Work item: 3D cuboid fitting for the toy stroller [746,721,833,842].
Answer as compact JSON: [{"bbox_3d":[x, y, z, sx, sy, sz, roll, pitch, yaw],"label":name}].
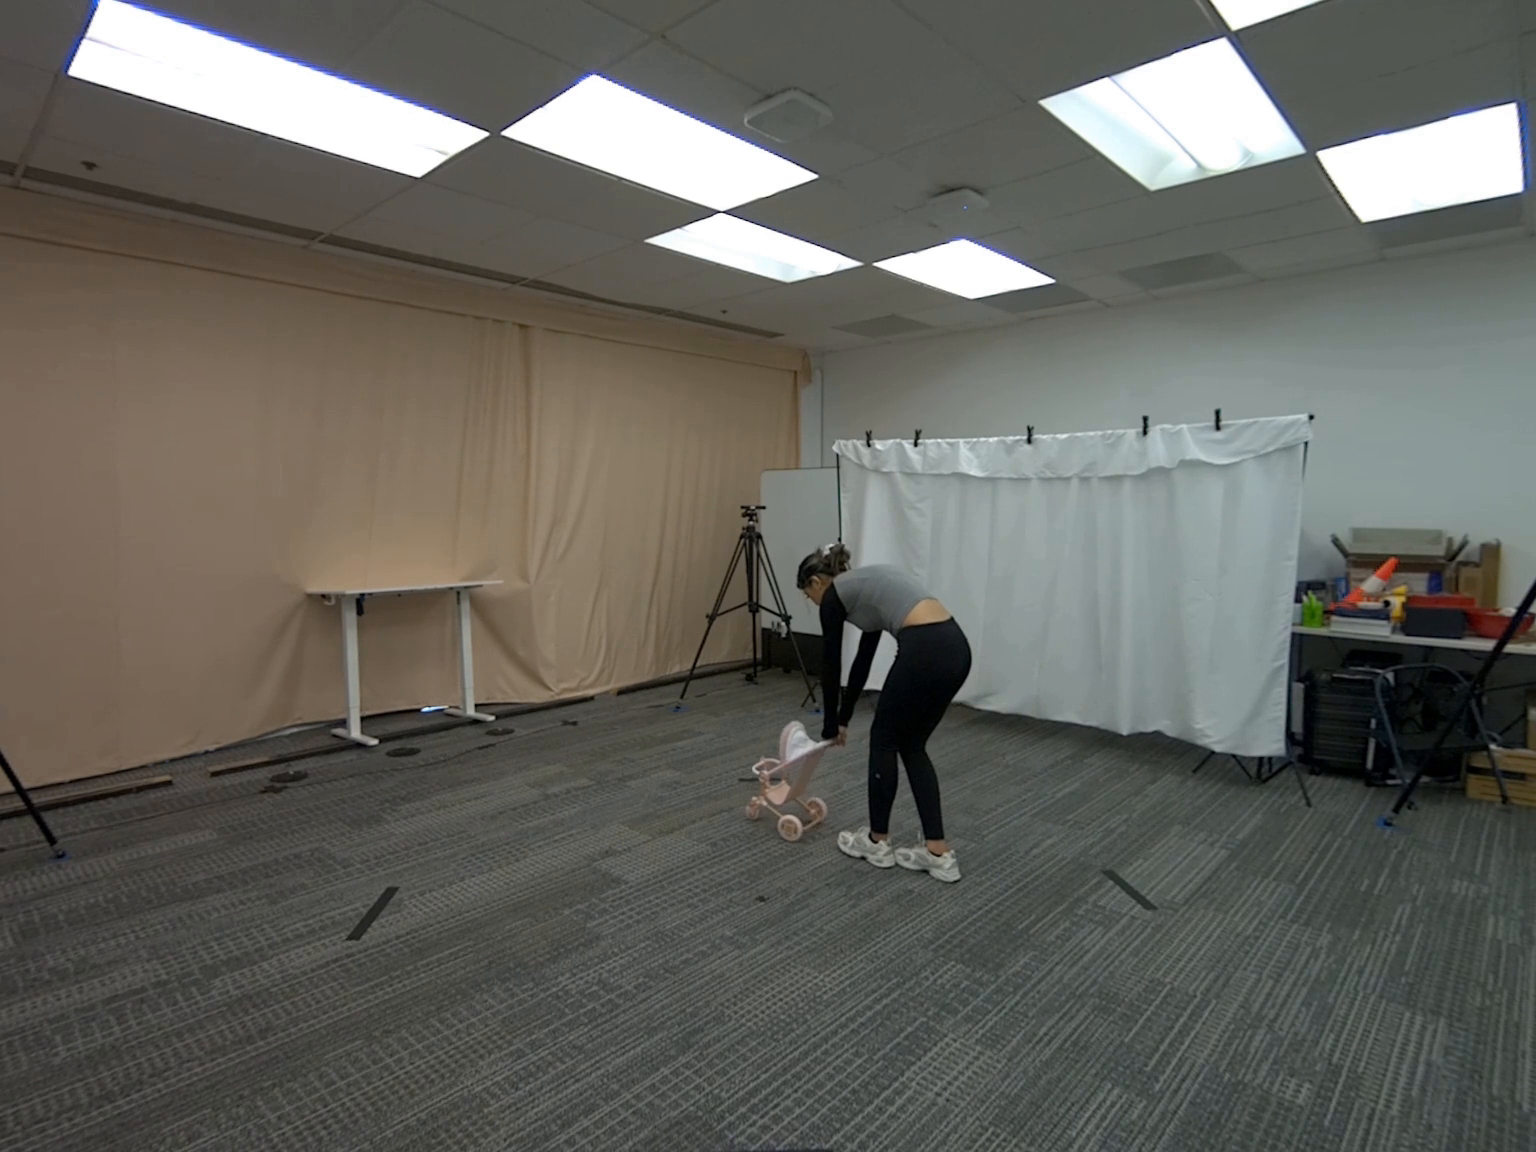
[{"bbox_3d":[0.099,0.861,3.627,0.353,0.532,0.273,19,13,33],"label":"toy stroller"}]
